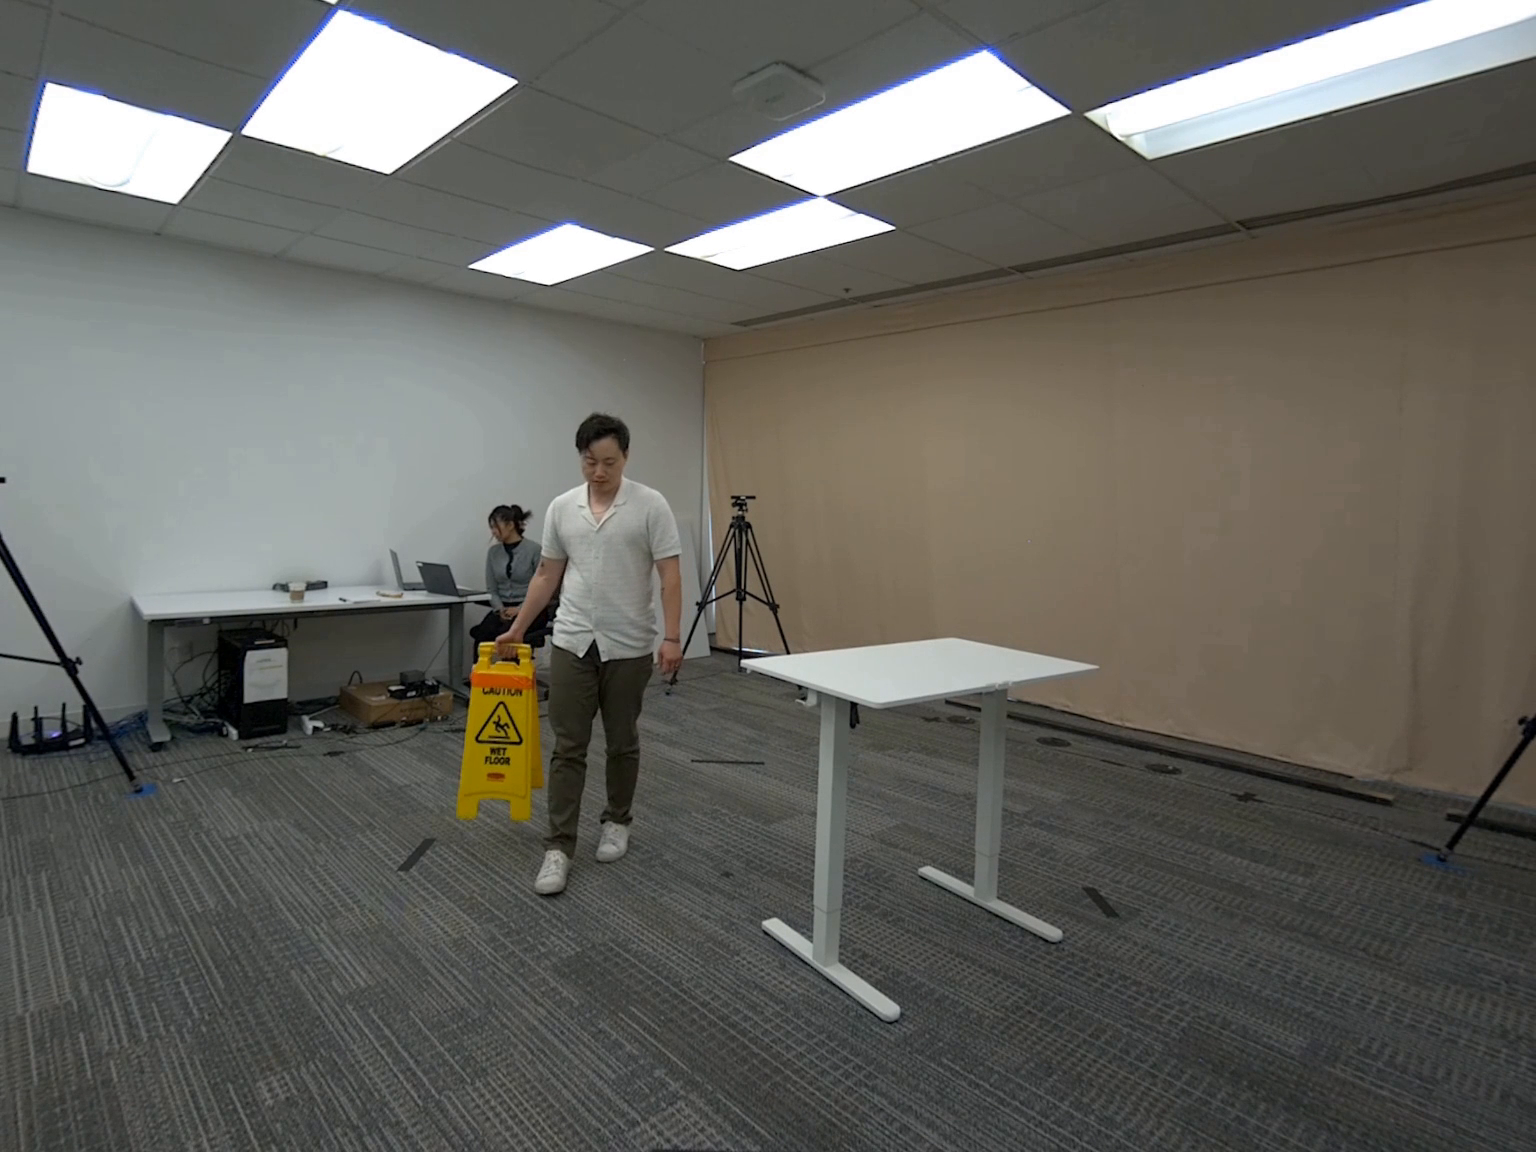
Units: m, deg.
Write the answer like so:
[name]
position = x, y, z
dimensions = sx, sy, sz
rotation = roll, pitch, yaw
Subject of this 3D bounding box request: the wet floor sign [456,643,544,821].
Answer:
[wet floor sign]
position = -1.033, 0.568, 3.277
dimensions = 0.281, 0.643, 0.292
rotation = 4, 7, -5
